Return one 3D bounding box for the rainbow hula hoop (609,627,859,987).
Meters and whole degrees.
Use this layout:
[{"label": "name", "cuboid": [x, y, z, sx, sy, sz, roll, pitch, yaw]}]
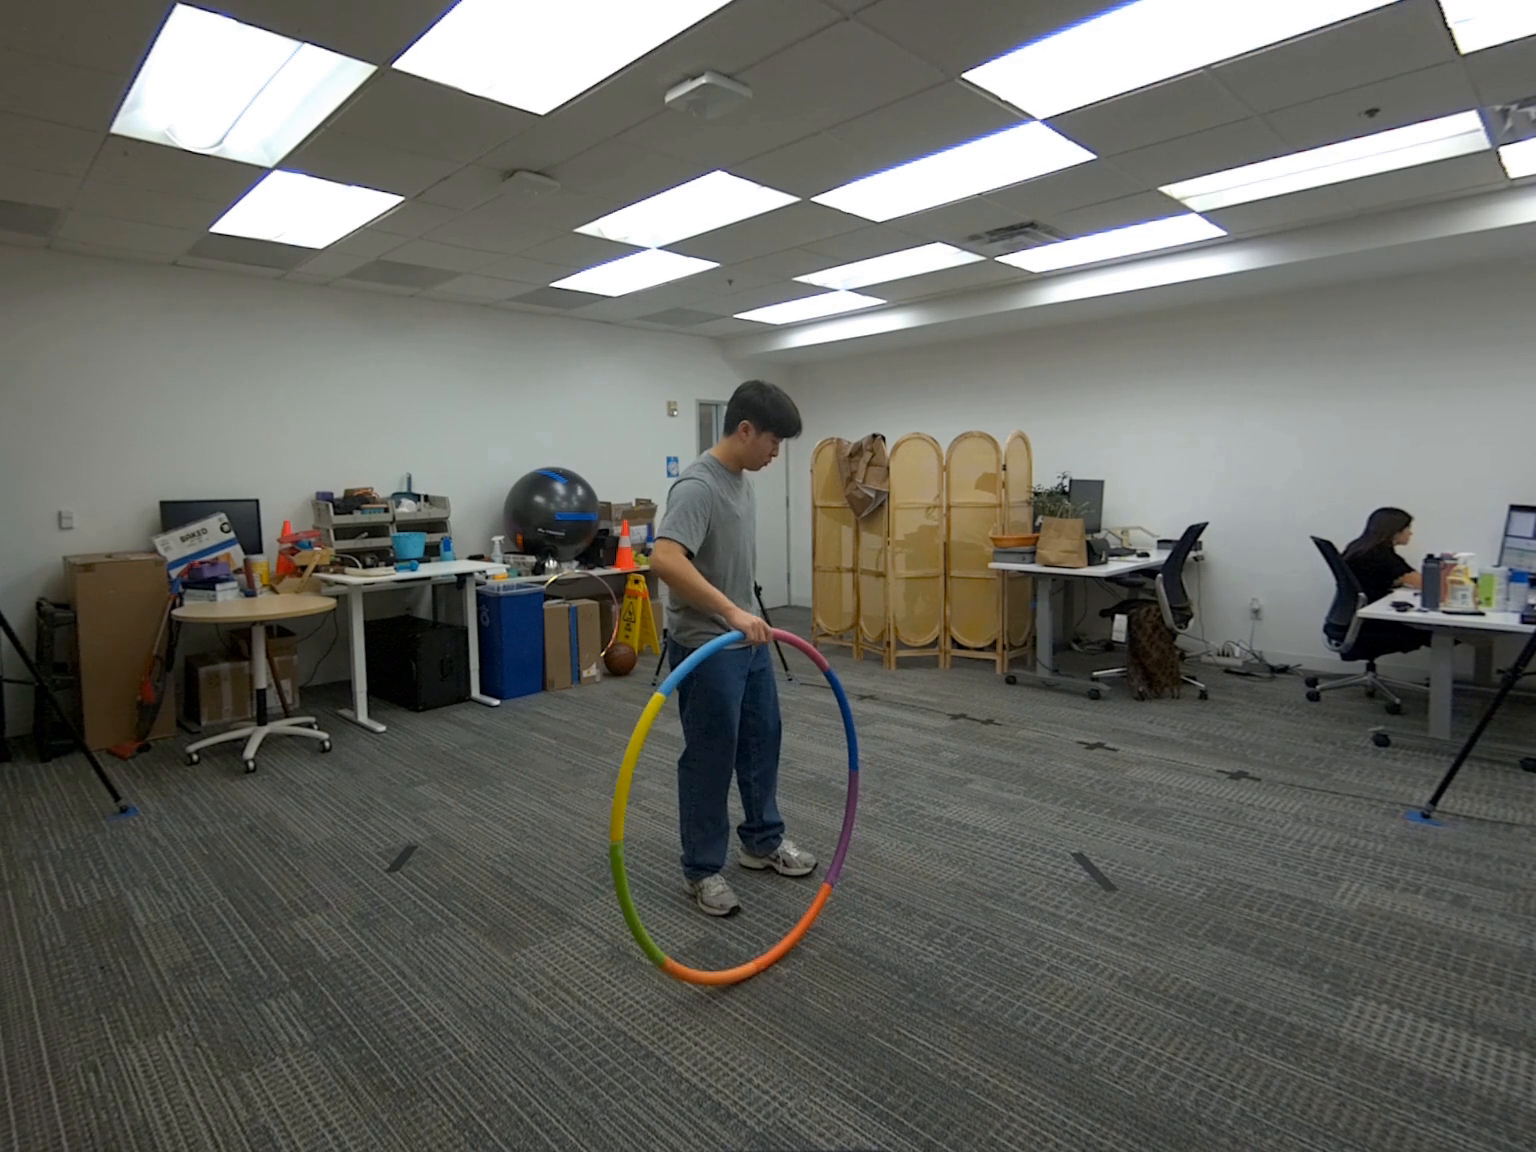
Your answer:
[{"label": "rainbow hula hoop", "cuboid": [-0.039, 0.638, 2.437, 0.036, 0.978, 0.953, -3, 2, 44]}]
